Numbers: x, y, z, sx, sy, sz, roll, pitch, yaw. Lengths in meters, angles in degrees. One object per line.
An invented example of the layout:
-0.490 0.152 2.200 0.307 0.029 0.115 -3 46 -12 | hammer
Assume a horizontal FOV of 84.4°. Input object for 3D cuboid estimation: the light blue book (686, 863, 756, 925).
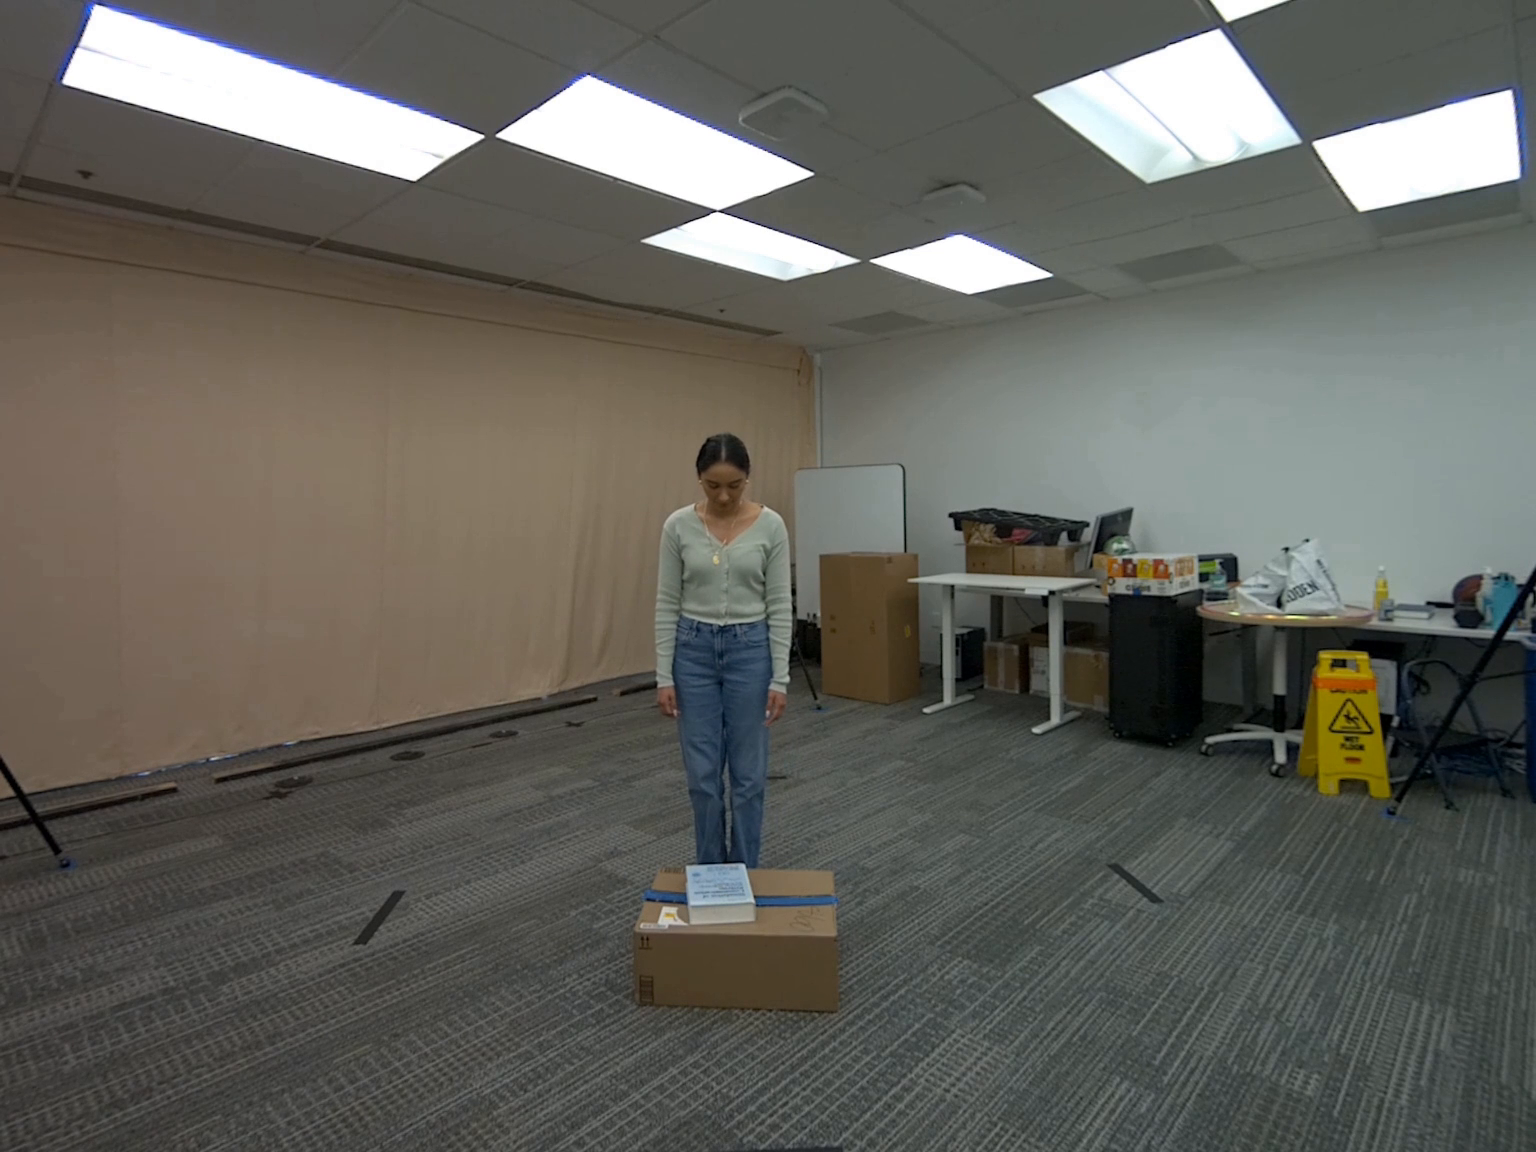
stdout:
-0.144 0.936 2.515 0.190 0.059 0.263 -1 4 -6 | light blue book
